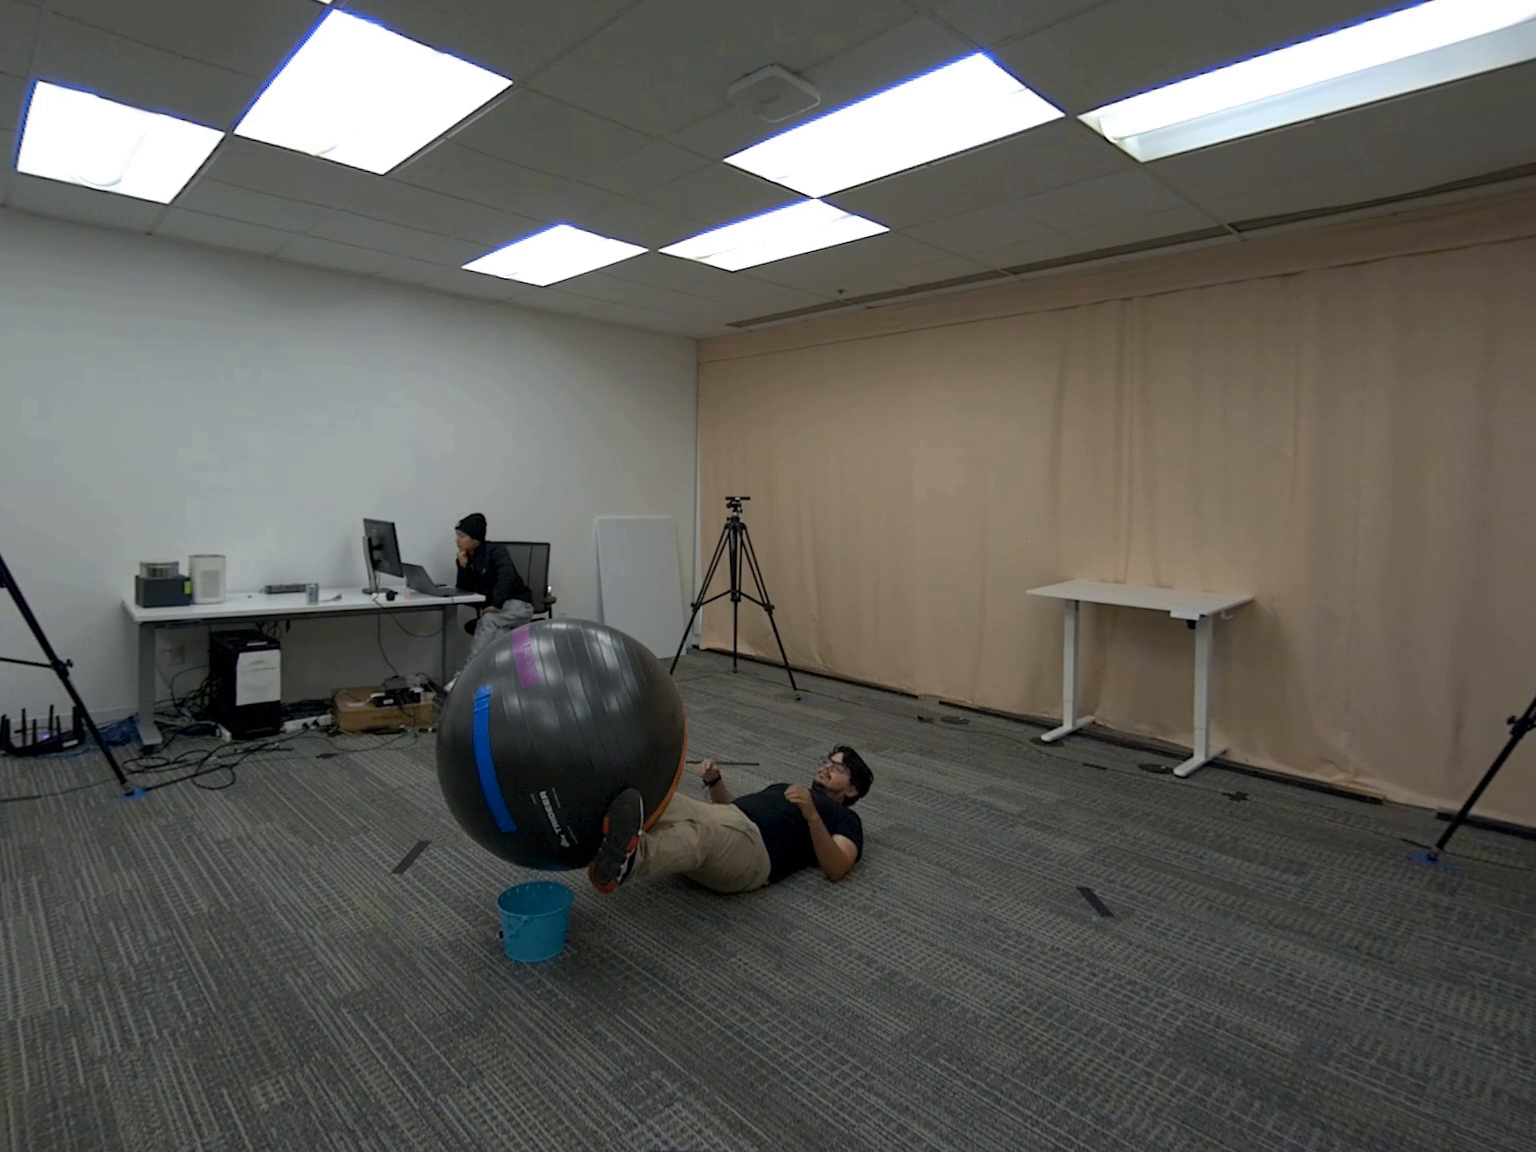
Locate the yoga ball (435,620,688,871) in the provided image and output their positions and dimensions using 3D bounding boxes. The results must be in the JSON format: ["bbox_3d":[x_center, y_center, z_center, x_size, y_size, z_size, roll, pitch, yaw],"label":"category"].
[{"bbox_3d":[-0.637,0.516,2.612,0.757,0.756,0.761,1,4,-1],"label":"yoga ball"}]
